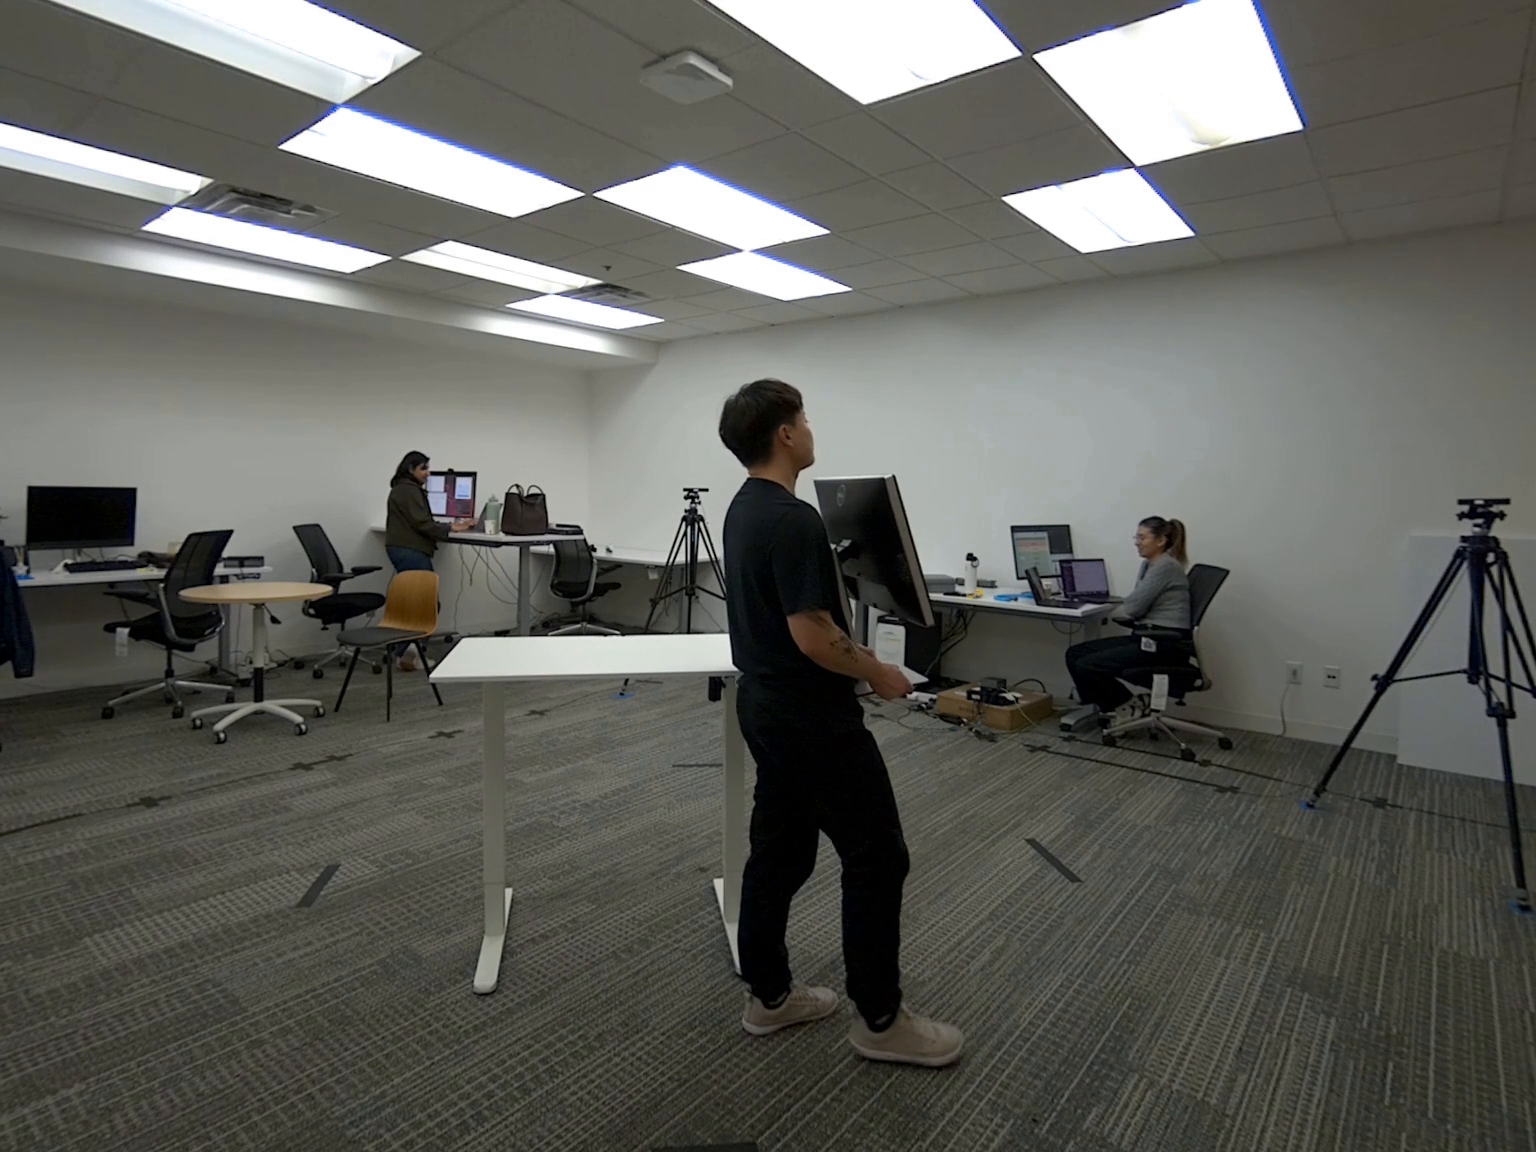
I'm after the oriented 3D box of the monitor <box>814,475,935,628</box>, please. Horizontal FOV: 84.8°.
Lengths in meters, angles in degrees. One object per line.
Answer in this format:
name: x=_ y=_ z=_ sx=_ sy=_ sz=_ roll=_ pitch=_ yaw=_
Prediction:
monitor: x=0.237 y=0.014 z=2.191 sx=0.185 sy=0.519 sz=0.548 roll=-7 pitch=7 yaw=-13
